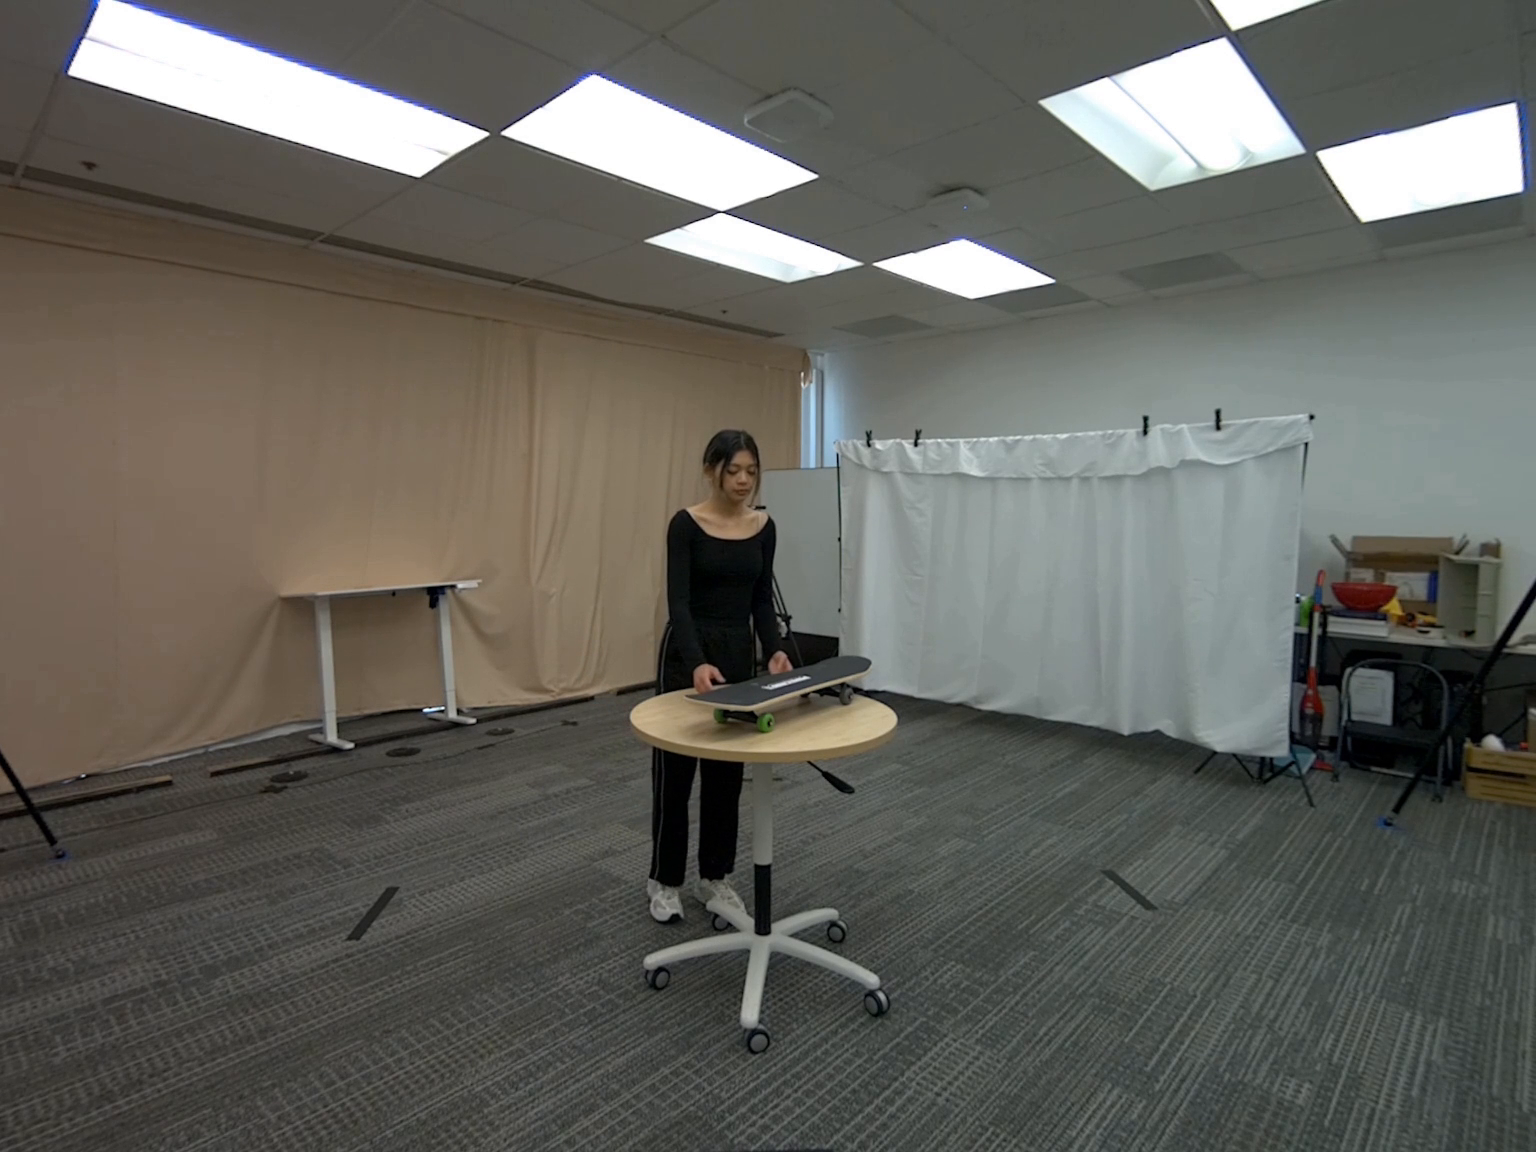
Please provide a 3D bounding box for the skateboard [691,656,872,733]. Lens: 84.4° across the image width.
[{"bbox_3d":[0.058,0.348,2.433,0.200,0.110,0.763,5,8,36],"label":"skateboard"}]
